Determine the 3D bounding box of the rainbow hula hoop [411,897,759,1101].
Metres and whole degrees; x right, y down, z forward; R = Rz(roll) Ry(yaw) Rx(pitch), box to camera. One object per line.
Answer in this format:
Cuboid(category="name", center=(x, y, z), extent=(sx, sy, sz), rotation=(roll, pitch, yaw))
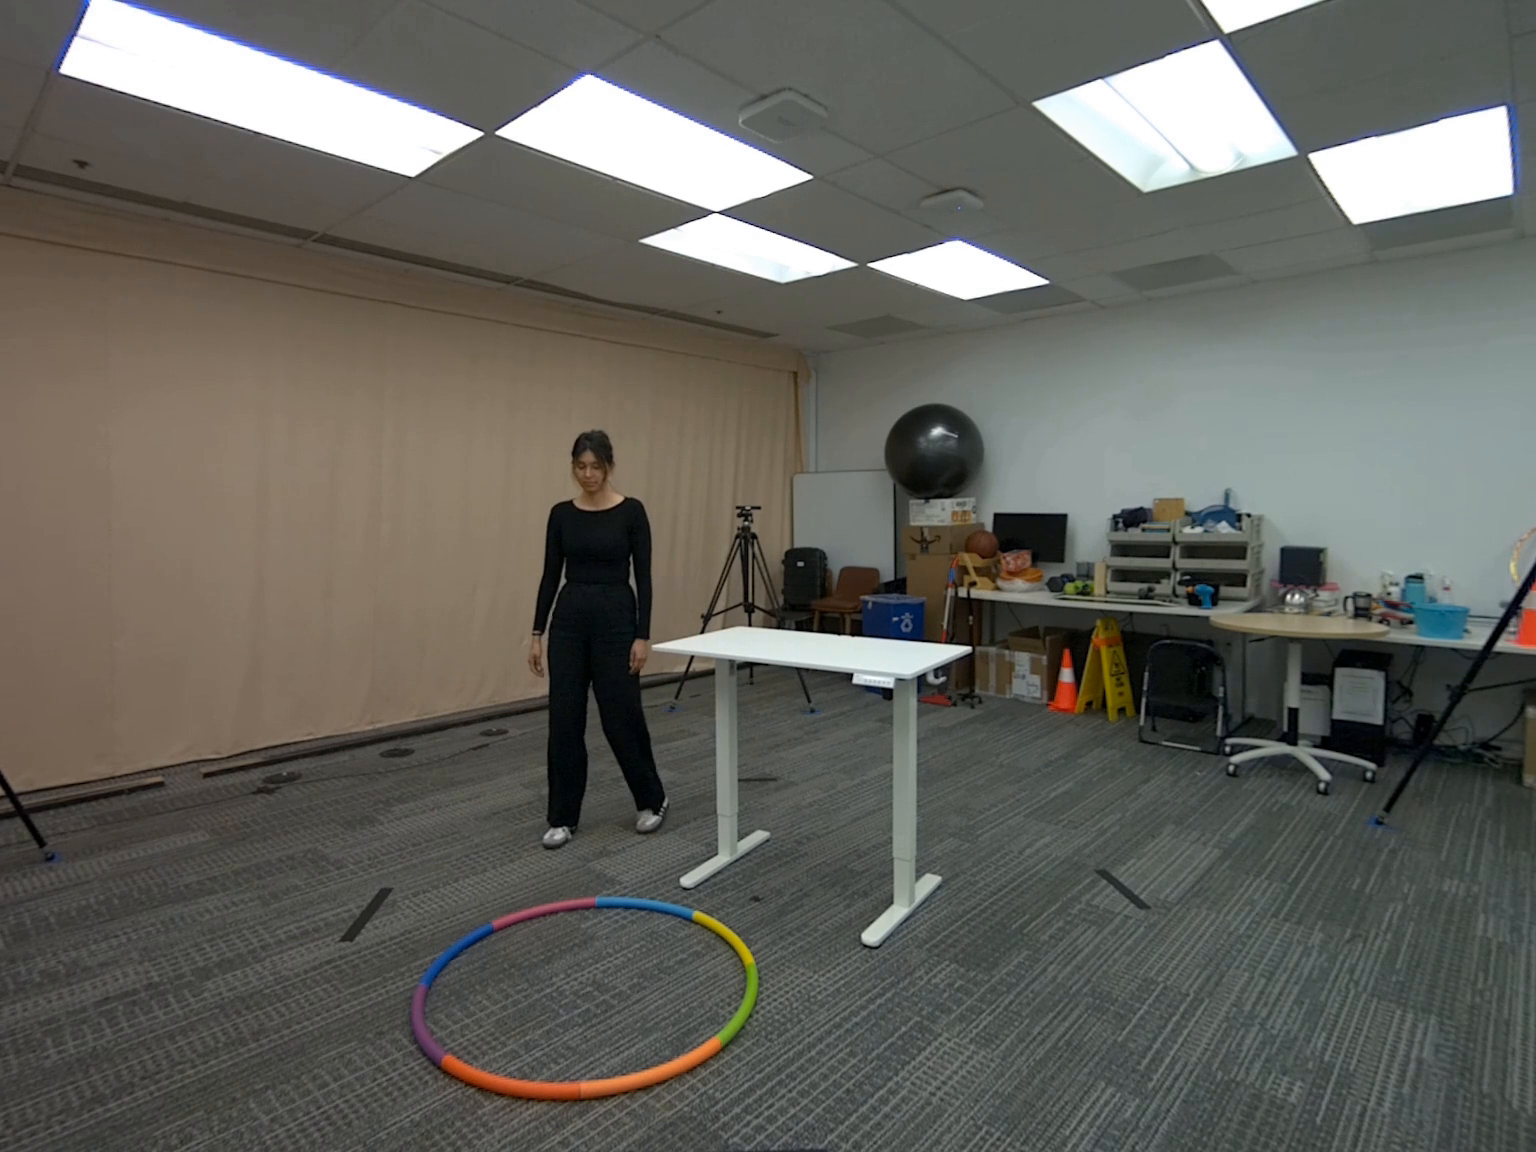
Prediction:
Cuboid(category="rainbow hula hoop", center=(-0.513, 1.164, 2.454), extent=(0.978, 0.035, 0.982), rotation=(0, 4, -2))
